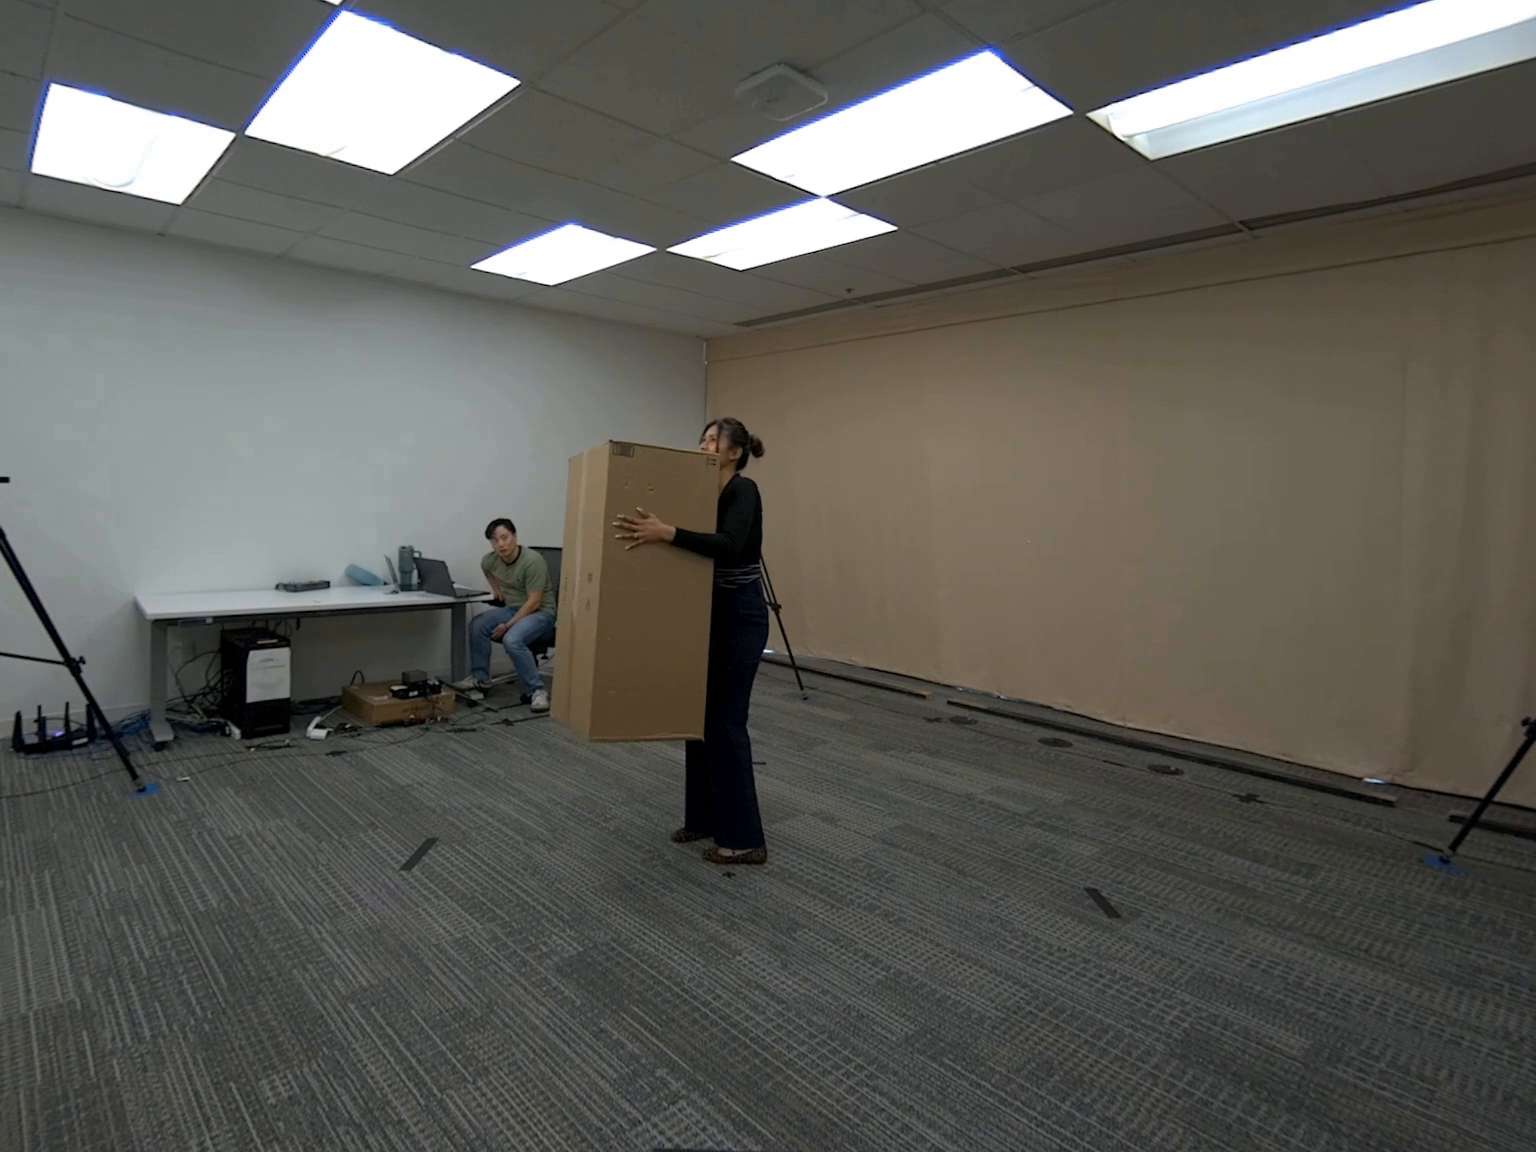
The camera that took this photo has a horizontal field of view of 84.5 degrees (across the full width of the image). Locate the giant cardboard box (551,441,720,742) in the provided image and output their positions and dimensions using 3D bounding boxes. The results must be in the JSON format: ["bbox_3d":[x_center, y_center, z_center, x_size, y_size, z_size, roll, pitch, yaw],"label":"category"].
[{"bbox_3d":[-0.514,0.058,3.173,0.418,1.028,0.587,5,-4,-26],"label":"giant cardboard box"}]
